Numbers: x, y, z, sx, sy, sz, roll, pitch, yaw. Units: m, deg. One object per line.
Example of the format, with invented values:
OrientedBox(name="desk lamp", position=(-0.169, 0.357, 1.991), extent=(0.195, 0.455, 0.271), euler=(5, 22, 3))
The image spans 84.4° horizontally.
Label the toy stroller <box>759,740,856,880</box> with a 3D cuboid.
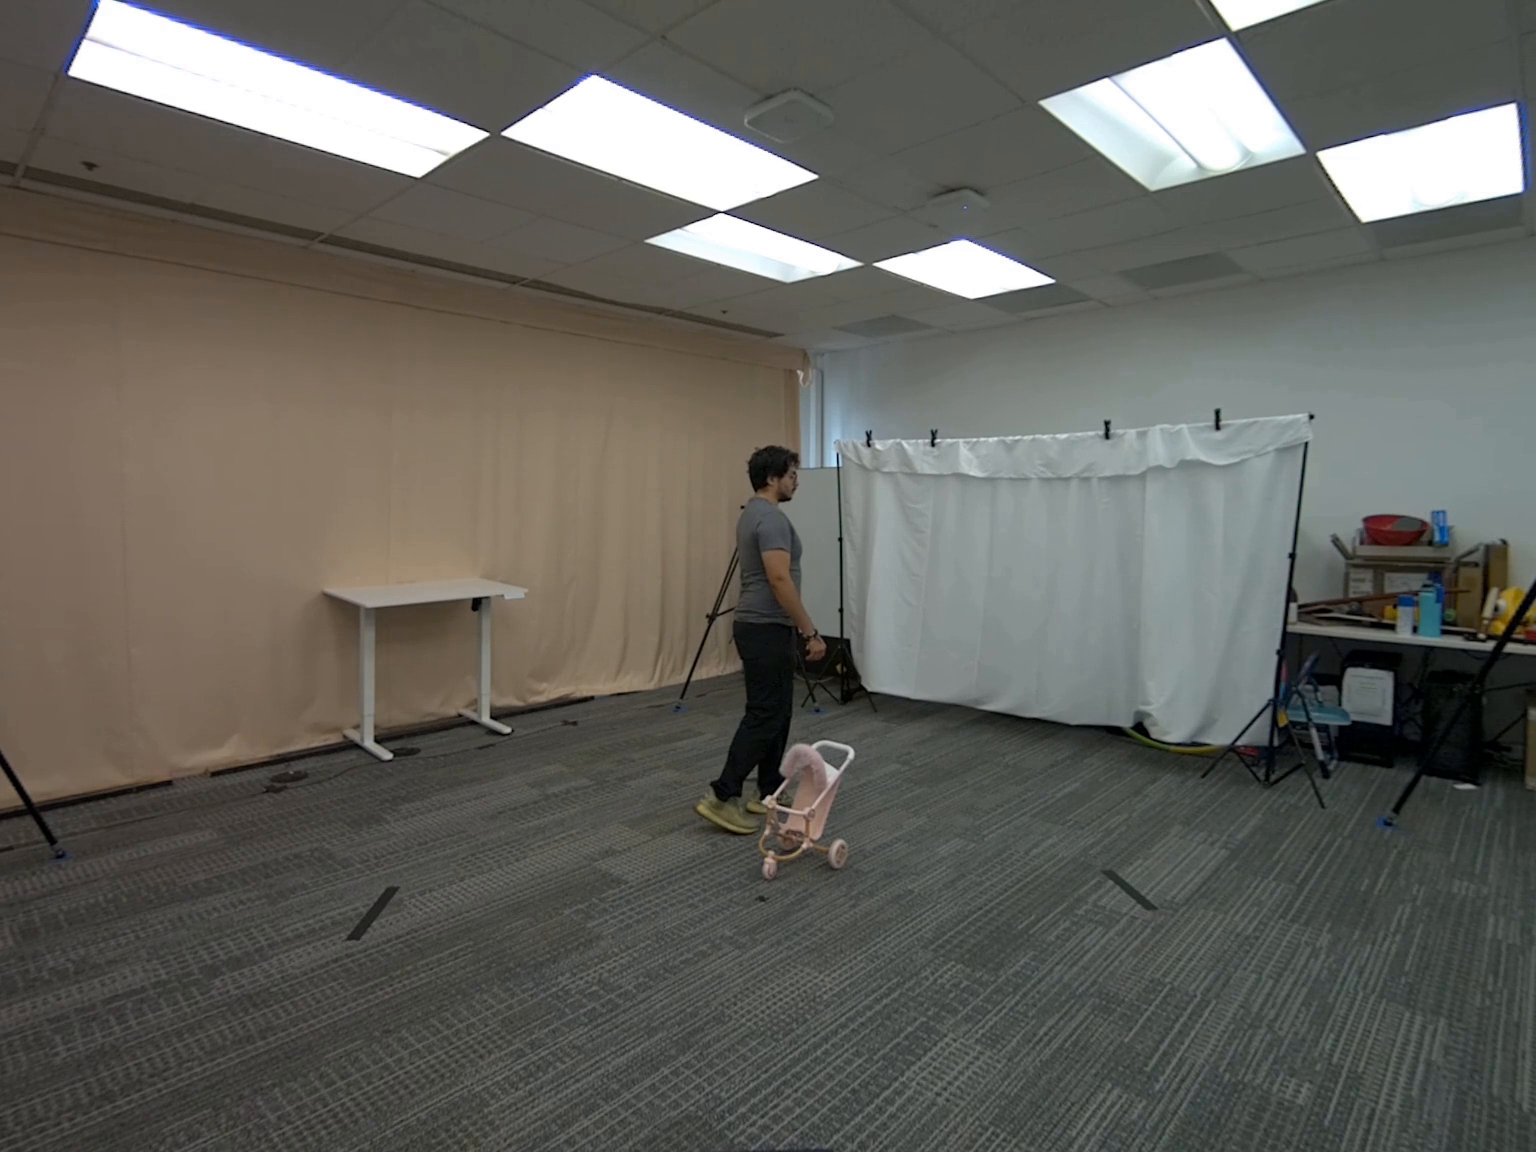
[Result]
OrientedBox(name="toy stroller", position=(0.136, 0.895, 3.263), extent=(0.291, 0.537, 0.329), euler=(3, -13, 46))
